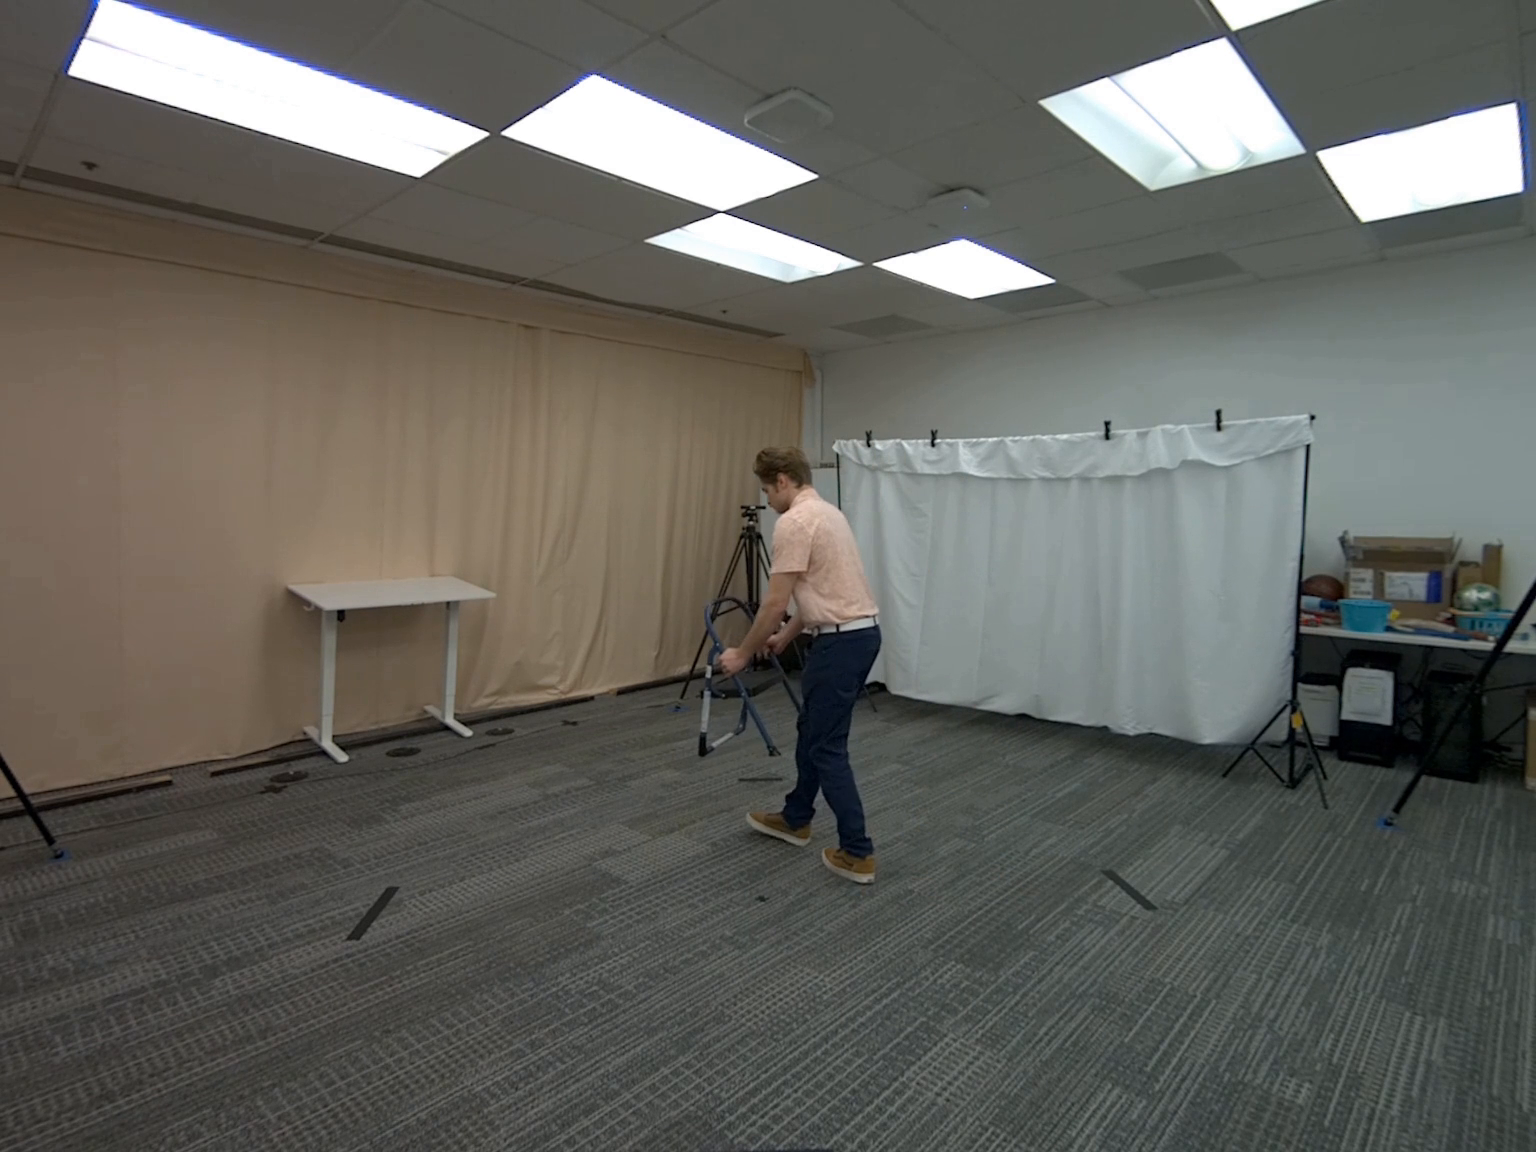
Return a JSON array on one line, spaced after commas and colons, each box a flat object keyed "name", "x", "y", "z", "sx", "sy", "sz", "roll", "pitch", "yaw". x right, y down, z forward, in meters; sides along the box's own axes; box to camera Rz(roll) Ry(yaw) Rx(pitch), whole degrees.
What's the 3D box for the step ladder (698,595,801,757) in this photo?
[{"name": "step ladder", "x": -0.078, "y": 0.392, "z": 3.460, "sx": 0.357, "sy": 0.606, "sz": 0.421, "roll": -8, "pitch": 1, "yaw": 25}]
